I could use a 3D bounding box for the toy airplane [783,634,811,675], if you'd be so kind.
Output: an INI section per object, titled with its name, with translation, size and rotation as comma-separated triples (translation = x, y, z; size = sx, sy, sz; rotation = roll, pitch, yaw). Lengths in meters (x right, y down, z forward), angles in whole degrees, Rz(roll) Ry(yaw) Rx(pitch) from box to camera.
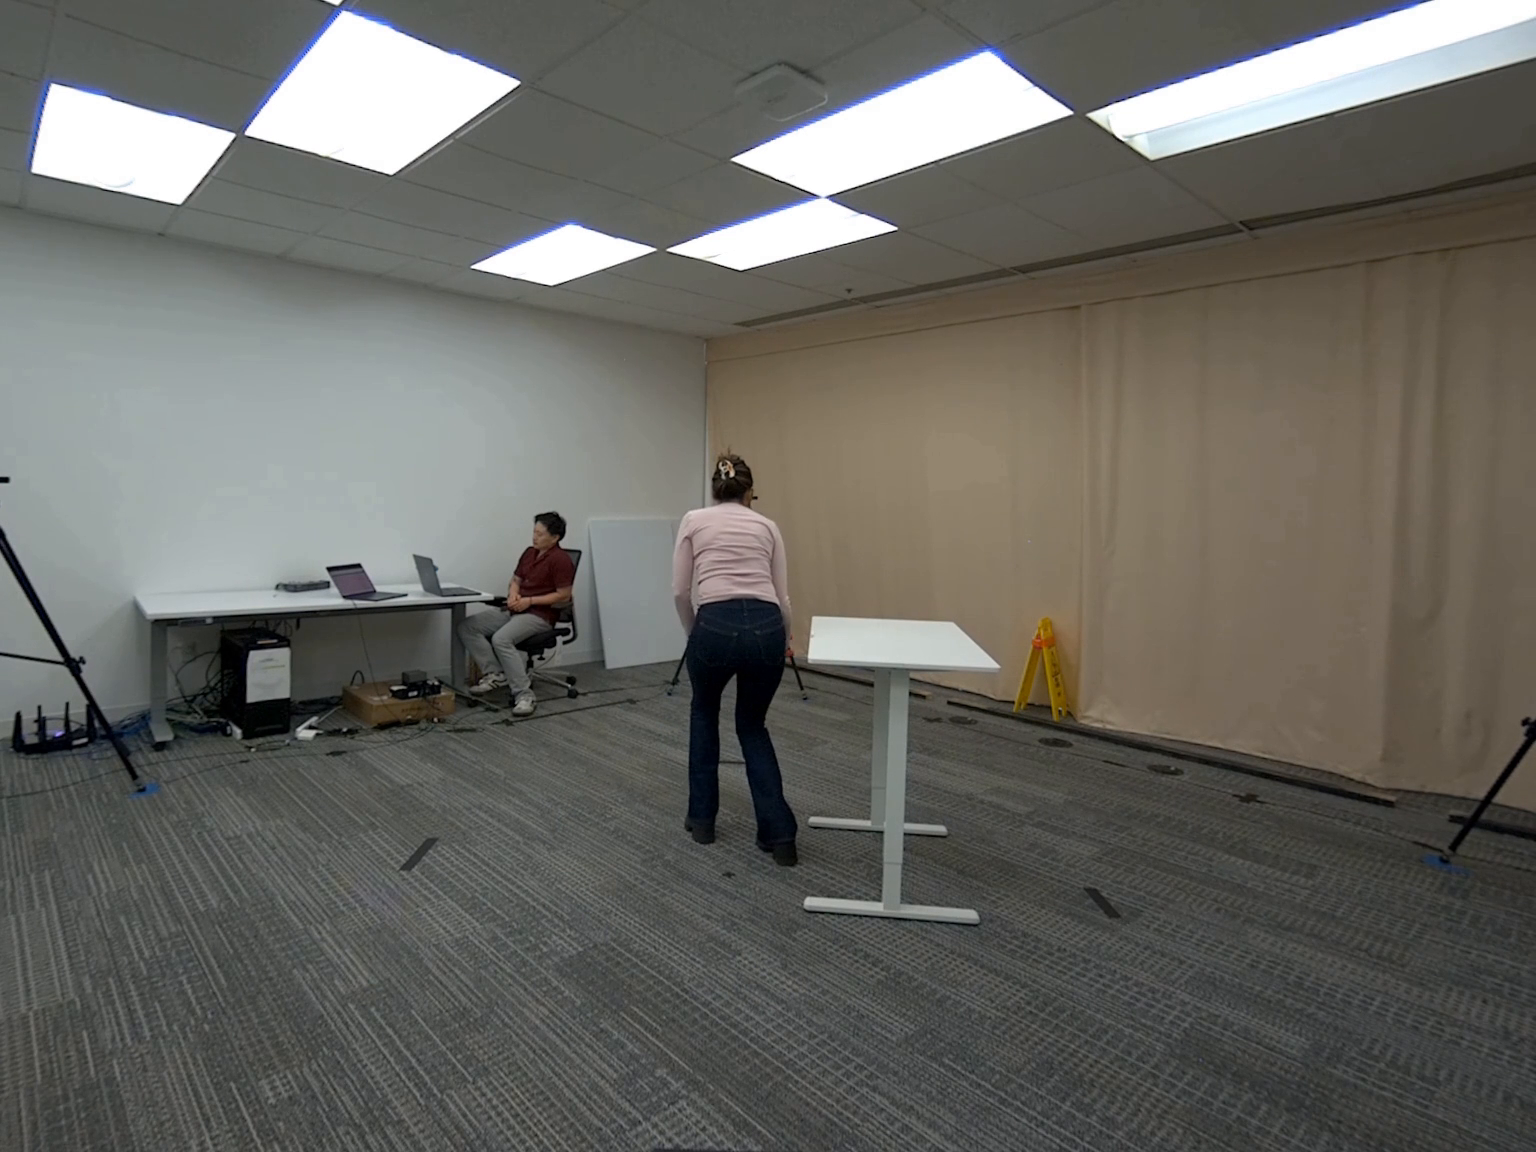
[toy airplane]
translation = 0.008, 0.345, 3.717
size = 0.247, 0.157, 0.262
rotation = -4, -2, -23
